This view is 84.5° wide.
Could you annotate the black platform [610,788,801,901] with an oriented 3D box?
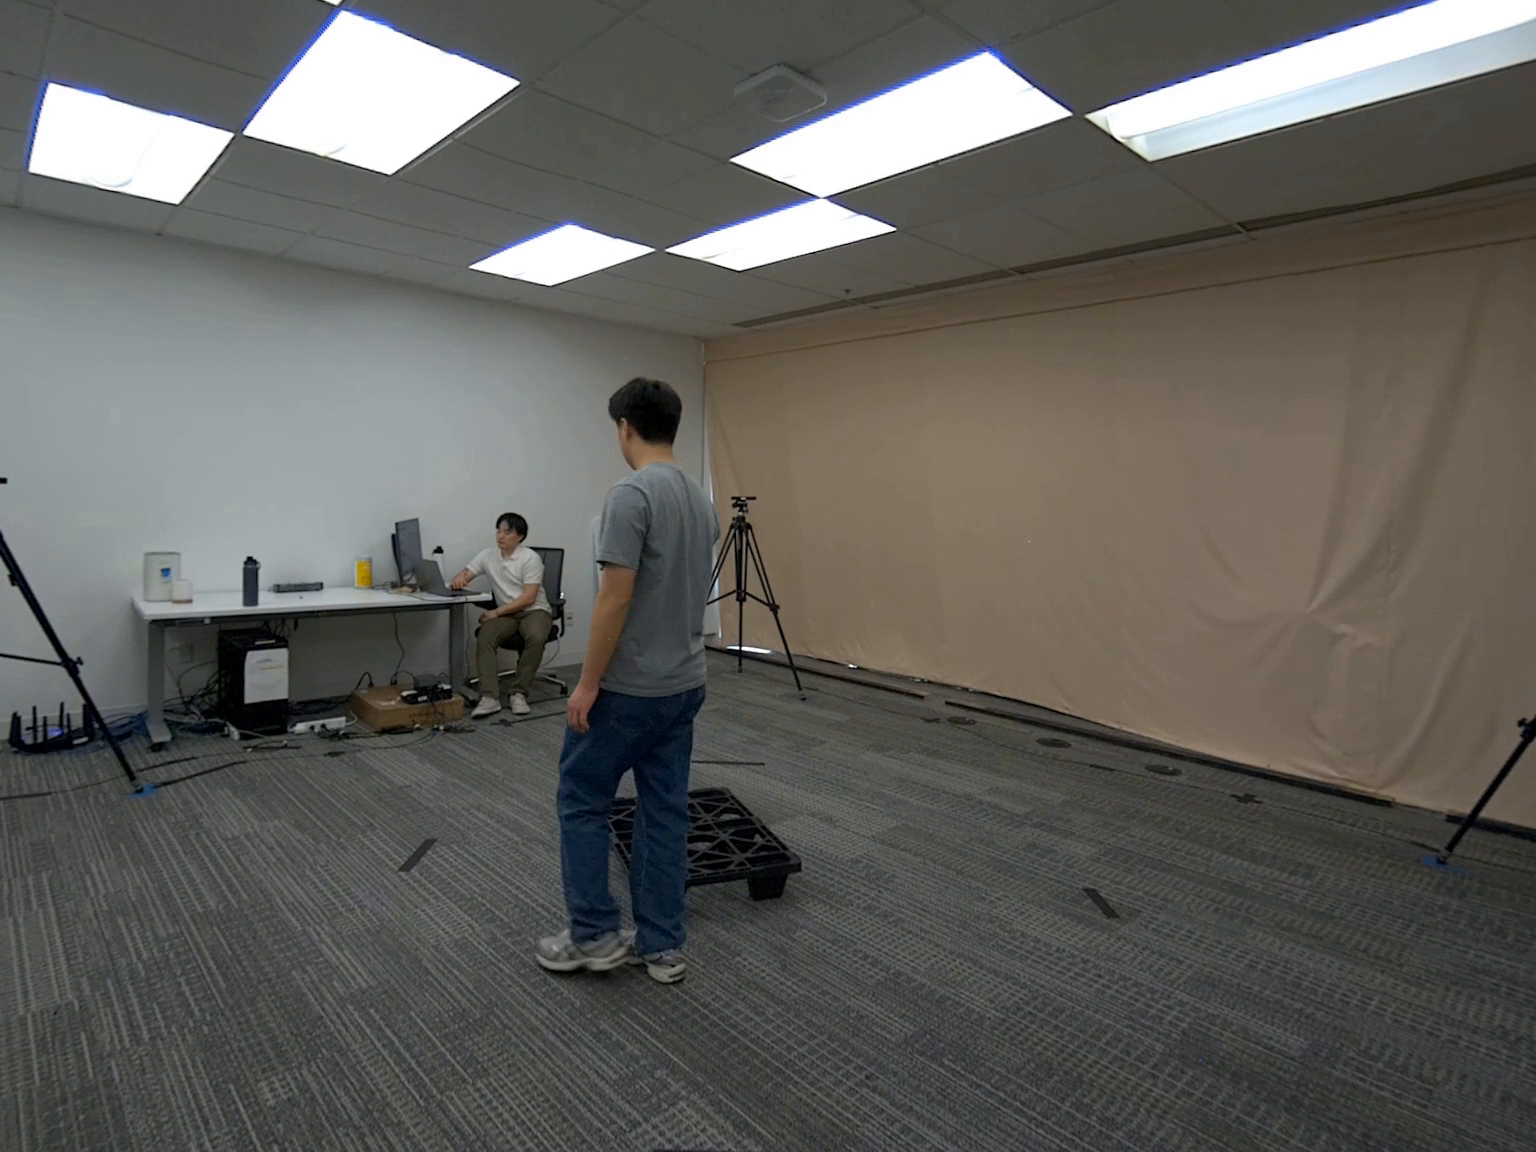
[{"bbox_3d":[-0.310,1.023,3.201,0.595,0.143,0.821,0,5,-22],"label":"black platform"}]
